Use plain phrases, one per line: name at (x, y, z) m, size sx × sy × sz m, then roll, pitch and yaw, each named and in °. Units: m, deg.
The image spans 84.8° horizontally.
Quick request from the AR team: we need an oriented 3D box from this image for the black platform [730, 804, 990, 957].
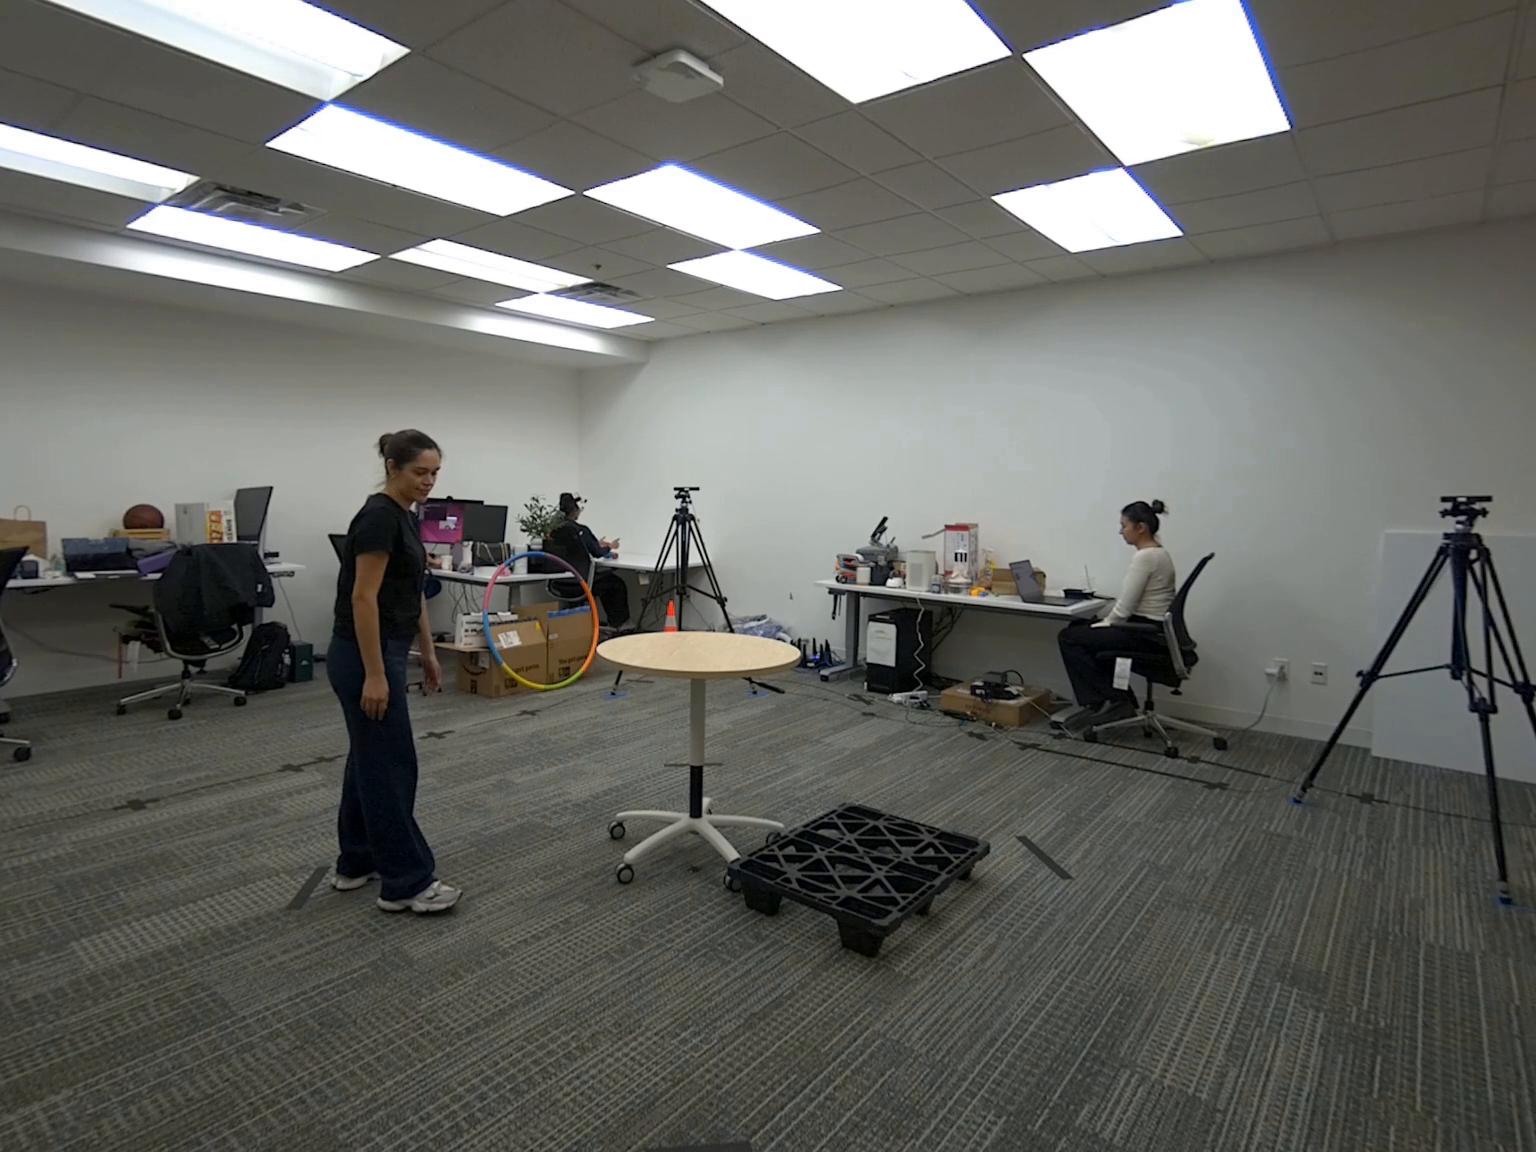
black platform at (0.338, 1.030, 2.956) m, size 0.625 × 0.143 × 0.782 m, roll 5°, pitch 7°, yaw 38°
